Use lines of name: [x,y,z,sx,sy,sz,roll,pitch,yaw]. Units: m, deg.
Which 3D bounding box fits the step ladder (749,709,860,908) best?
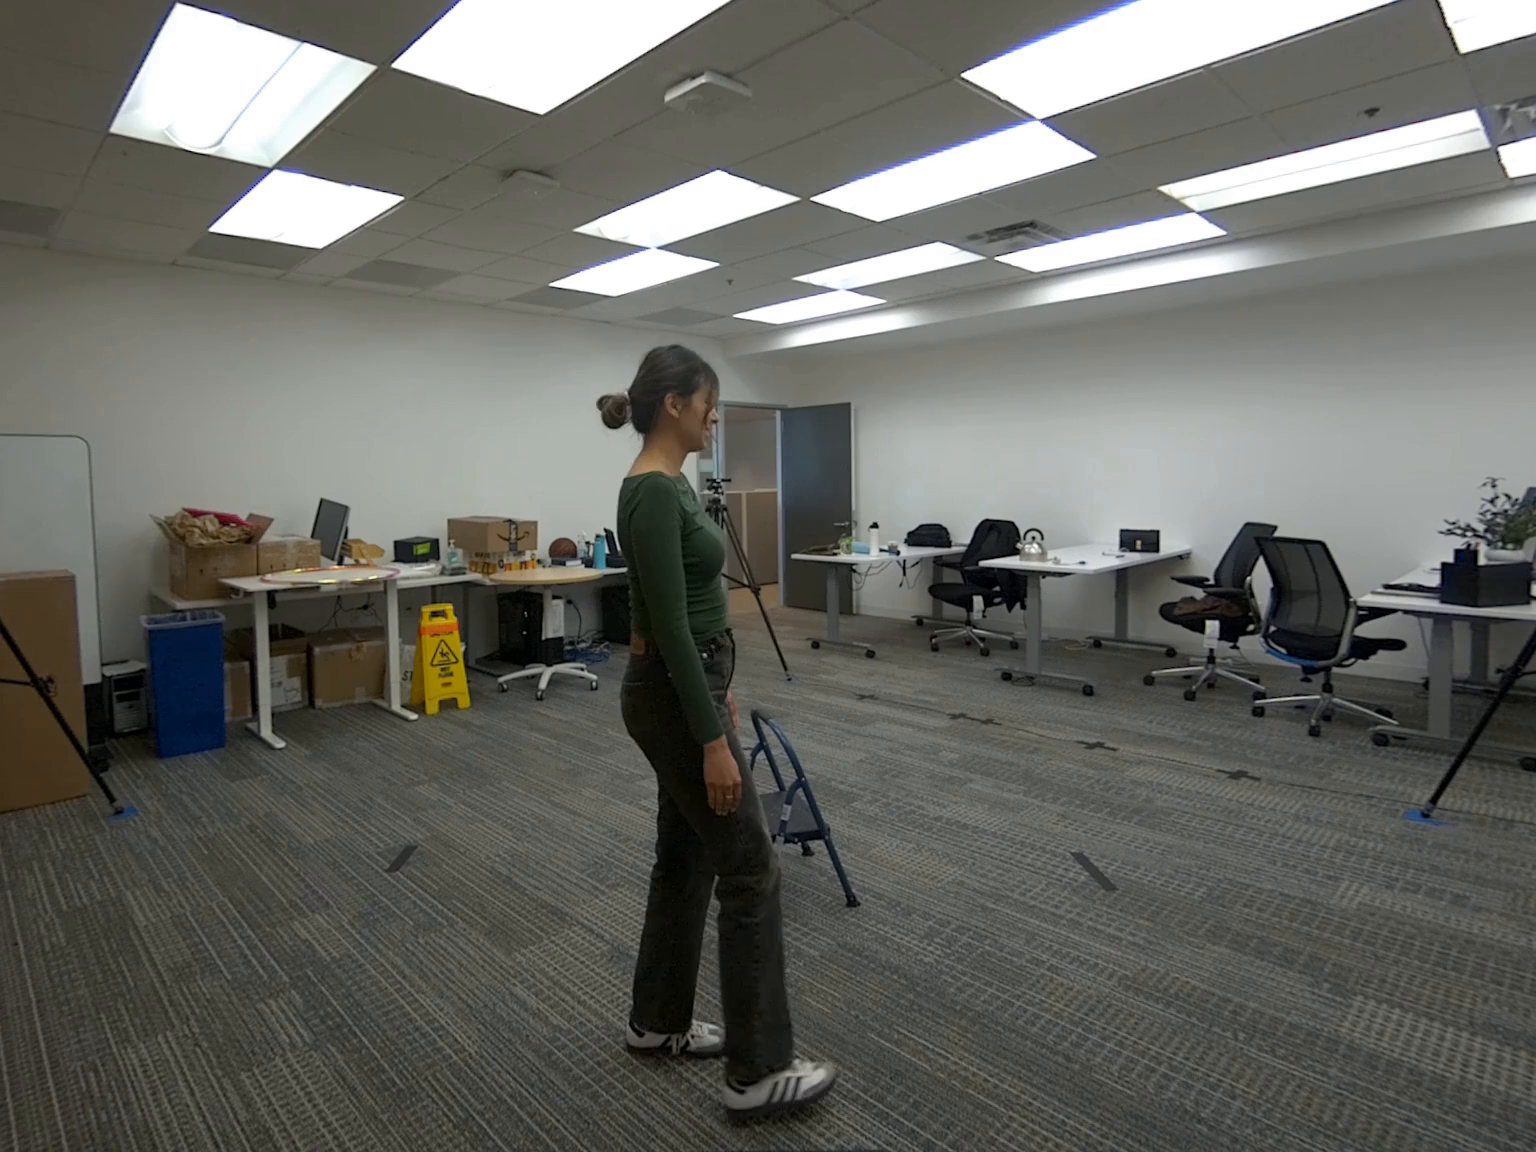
step ladder: [0.064,0.760,2.921,0.344,0.604,0.439,-3,4,-18]
